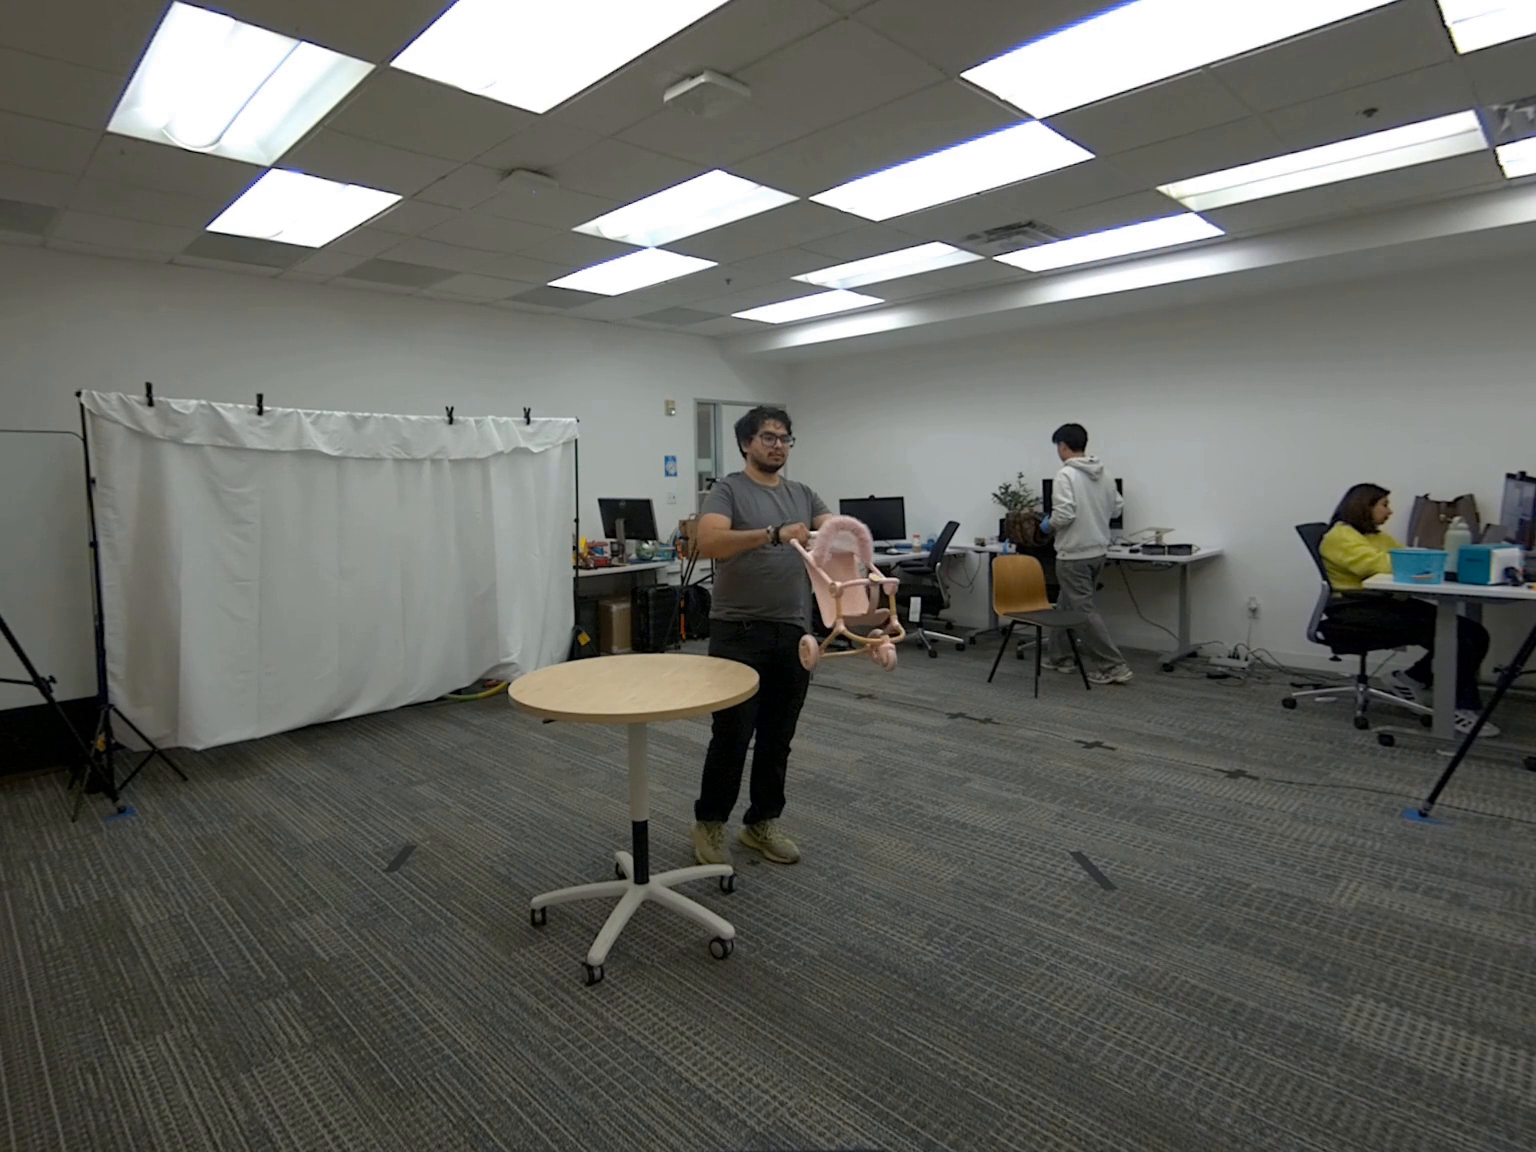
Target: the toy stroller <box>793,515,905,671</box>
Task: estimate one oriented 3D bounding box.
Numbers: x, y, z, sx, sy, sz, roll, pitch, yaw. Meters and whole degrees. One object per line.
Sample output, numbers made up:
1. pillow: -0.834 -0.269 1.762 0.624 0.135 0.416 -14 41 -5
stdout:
1. toy stroller: 0.249 0.058 2.616 0.277 0.545 0.341 -3 -18 -20
